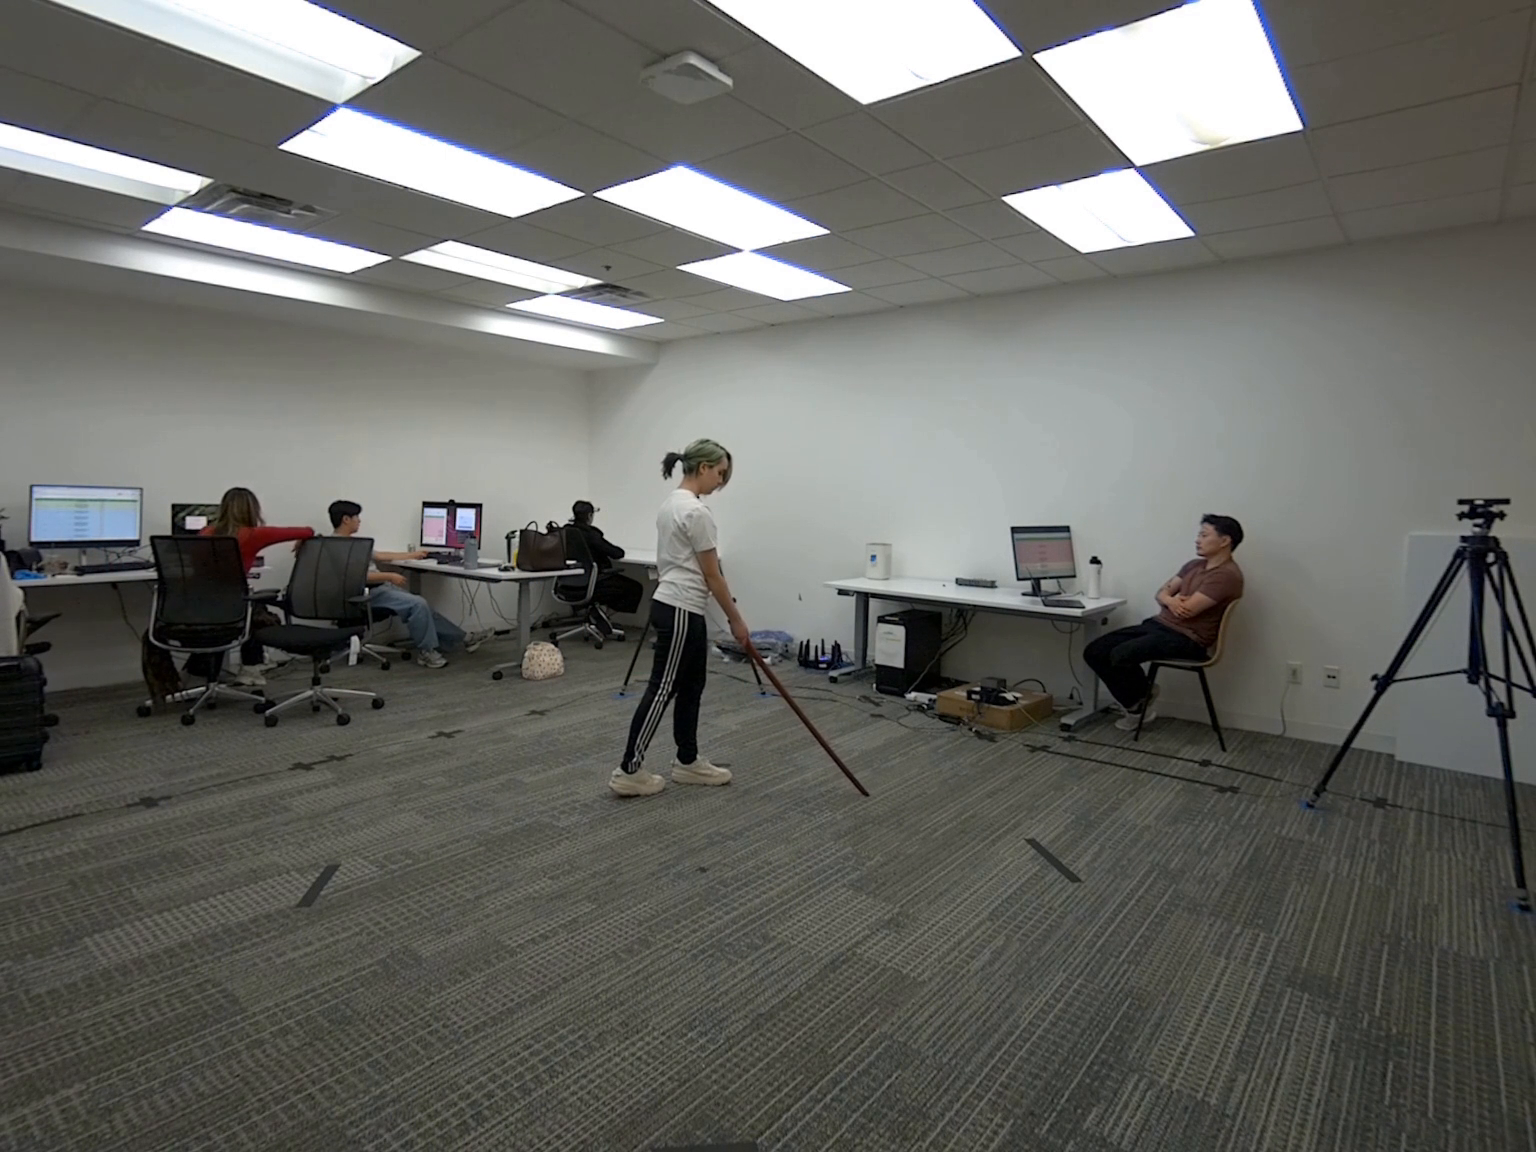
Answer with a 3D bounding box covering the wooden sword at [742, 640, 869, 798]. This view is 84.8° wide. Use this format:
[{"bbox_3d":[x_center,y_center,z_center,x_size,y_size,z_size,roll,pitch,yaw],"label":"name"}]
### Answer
[{"bbox_3d":[0.133,0.618,3.934,0.024,1.024,0.051,-40,1,30],"label":"wooden sword"}]
